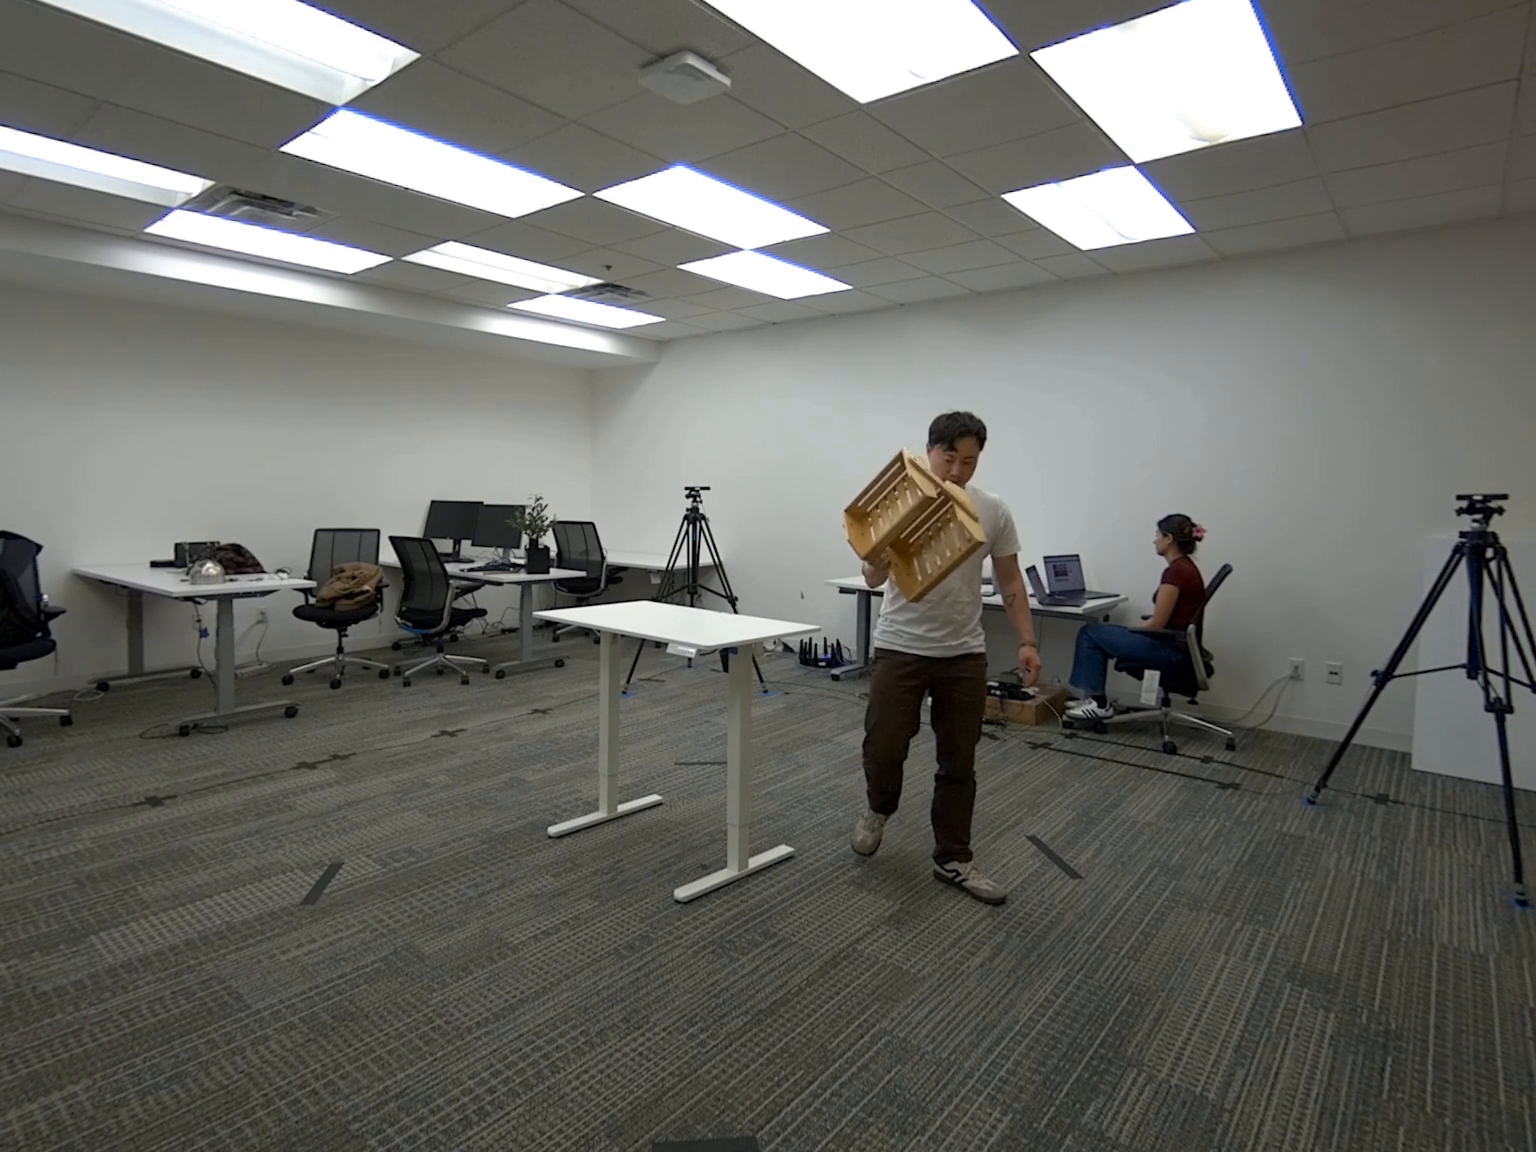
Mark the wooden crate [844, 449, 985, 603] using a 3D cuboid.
[{"bbox_3d":[0.426,-0.142,2.608,0.265,0.324,0.311,26,37,-23],"label":"wooden crate"}]
